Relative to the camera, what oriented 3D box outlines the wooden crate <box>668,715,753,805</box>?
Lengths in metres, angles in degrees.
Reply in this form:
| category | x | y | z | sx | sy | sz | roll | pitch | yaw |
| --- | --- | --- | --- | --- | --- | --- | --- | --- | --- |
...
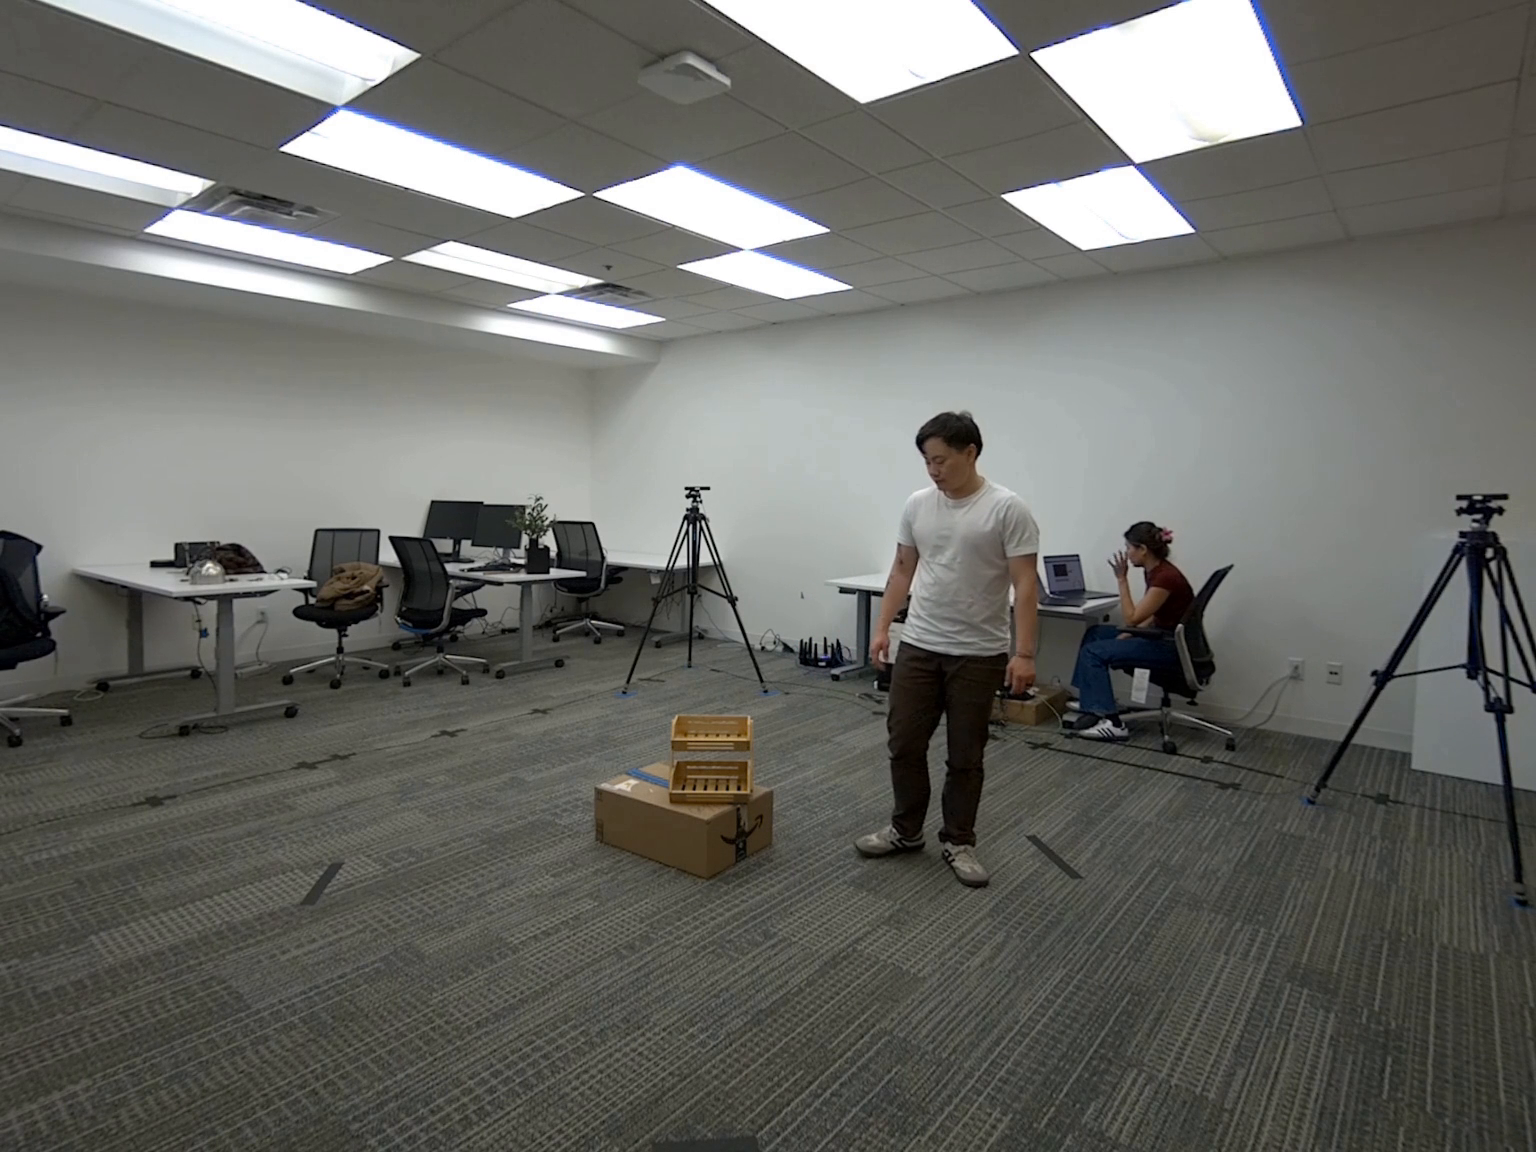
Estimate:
| category | x | y | z | sx | sy | sz | roll | pitch | yaw |
| --- | --- | --- | --- | --- | --- | --- | --- | --- | --- |
| wooden crate | -0.231 | 0.696 | 3.294 | 0.325 | 0.273 | 0.302 | 0 | 3 | 1 |
